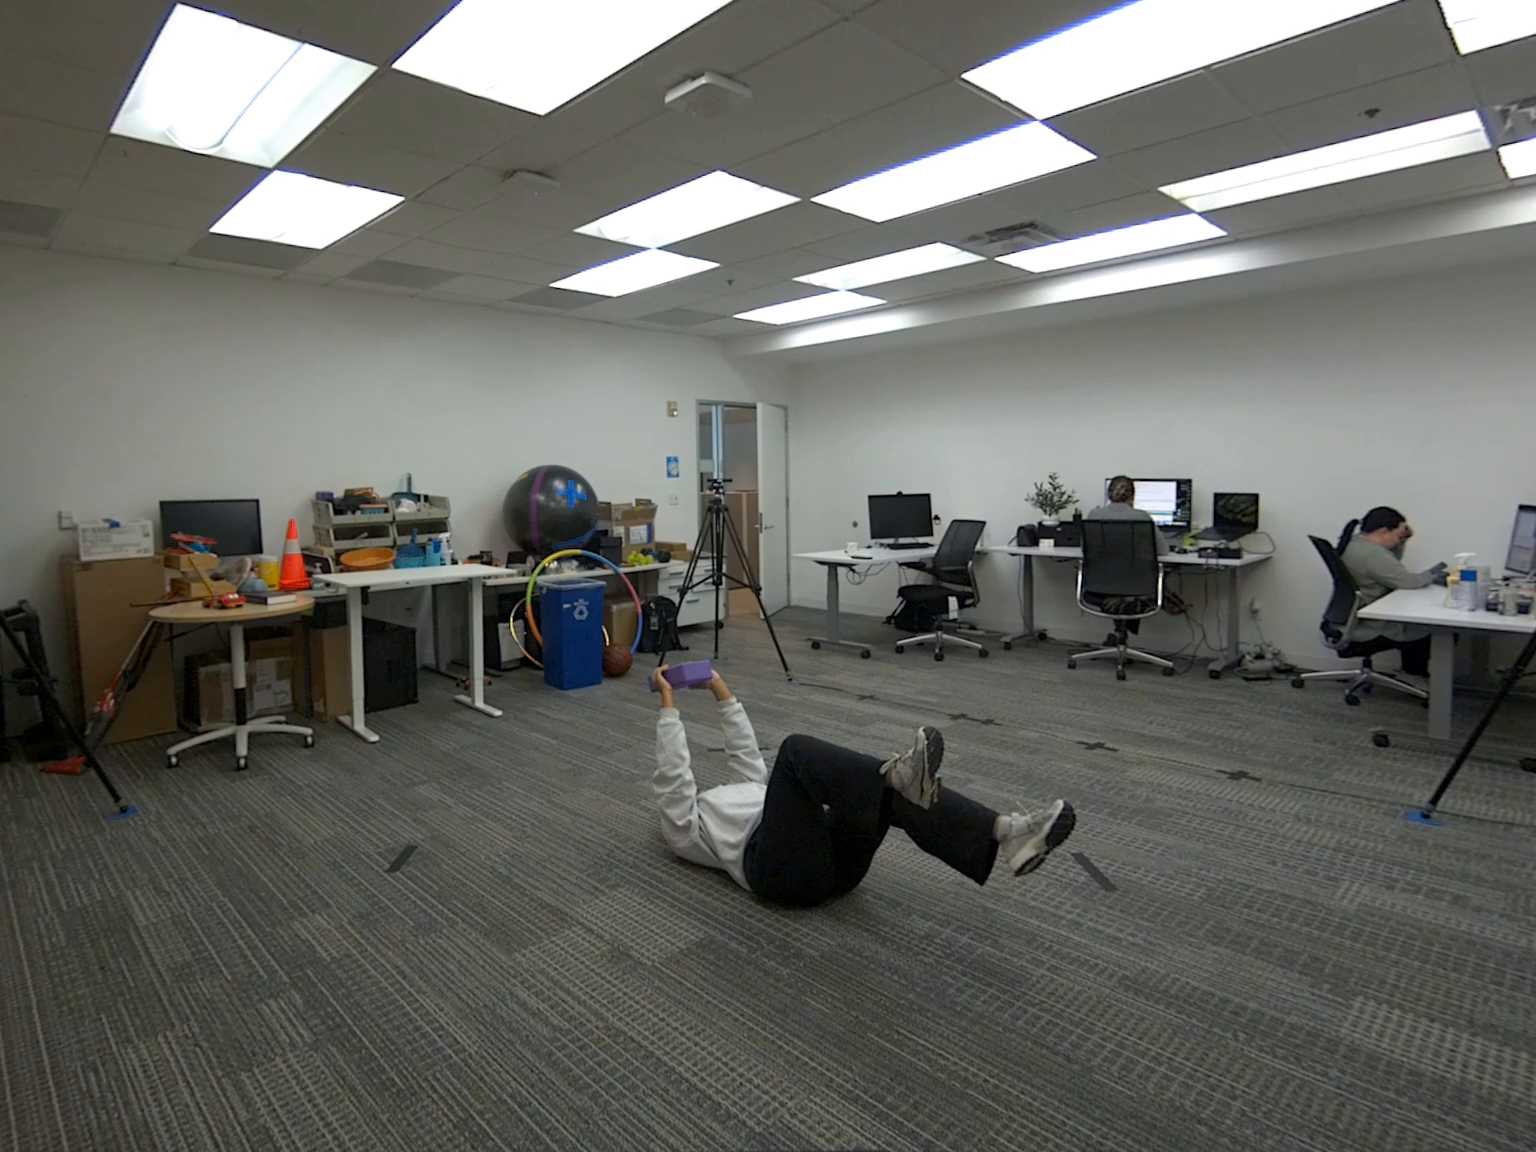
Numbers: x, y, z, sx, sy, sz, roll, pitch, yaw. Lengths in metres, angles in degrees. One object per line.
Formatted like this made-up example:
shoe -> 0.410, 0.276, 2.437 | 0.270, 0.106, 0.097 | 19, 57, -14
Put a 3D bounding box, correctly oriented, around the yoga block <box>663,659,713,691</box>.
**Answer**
yoga block -> -0.350, 0.393, 3.345 | 0.233, 0.077, 0.144 | -20, -14, 40
